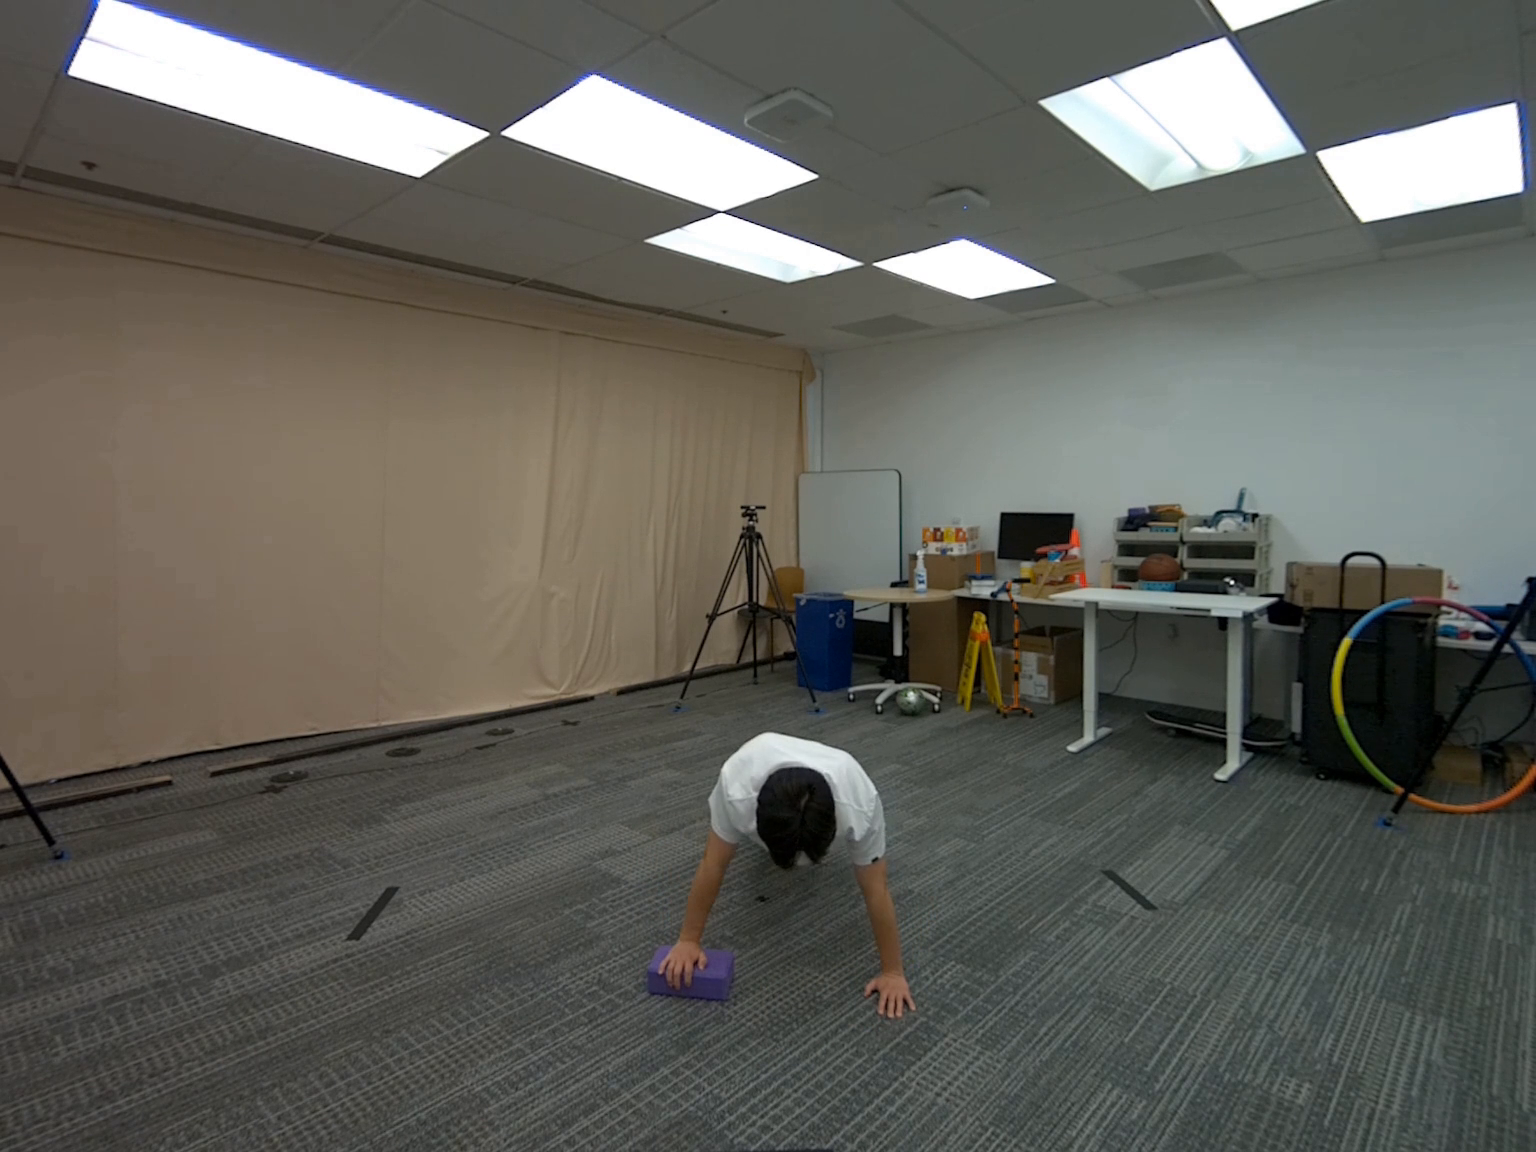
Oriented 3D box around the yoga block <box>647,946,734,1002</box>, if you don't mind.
[{"bbox_3d":[-0.216,1.157,2.445,0.232,0.076,0.147,2,3,12],"label":"yoga block"}]
